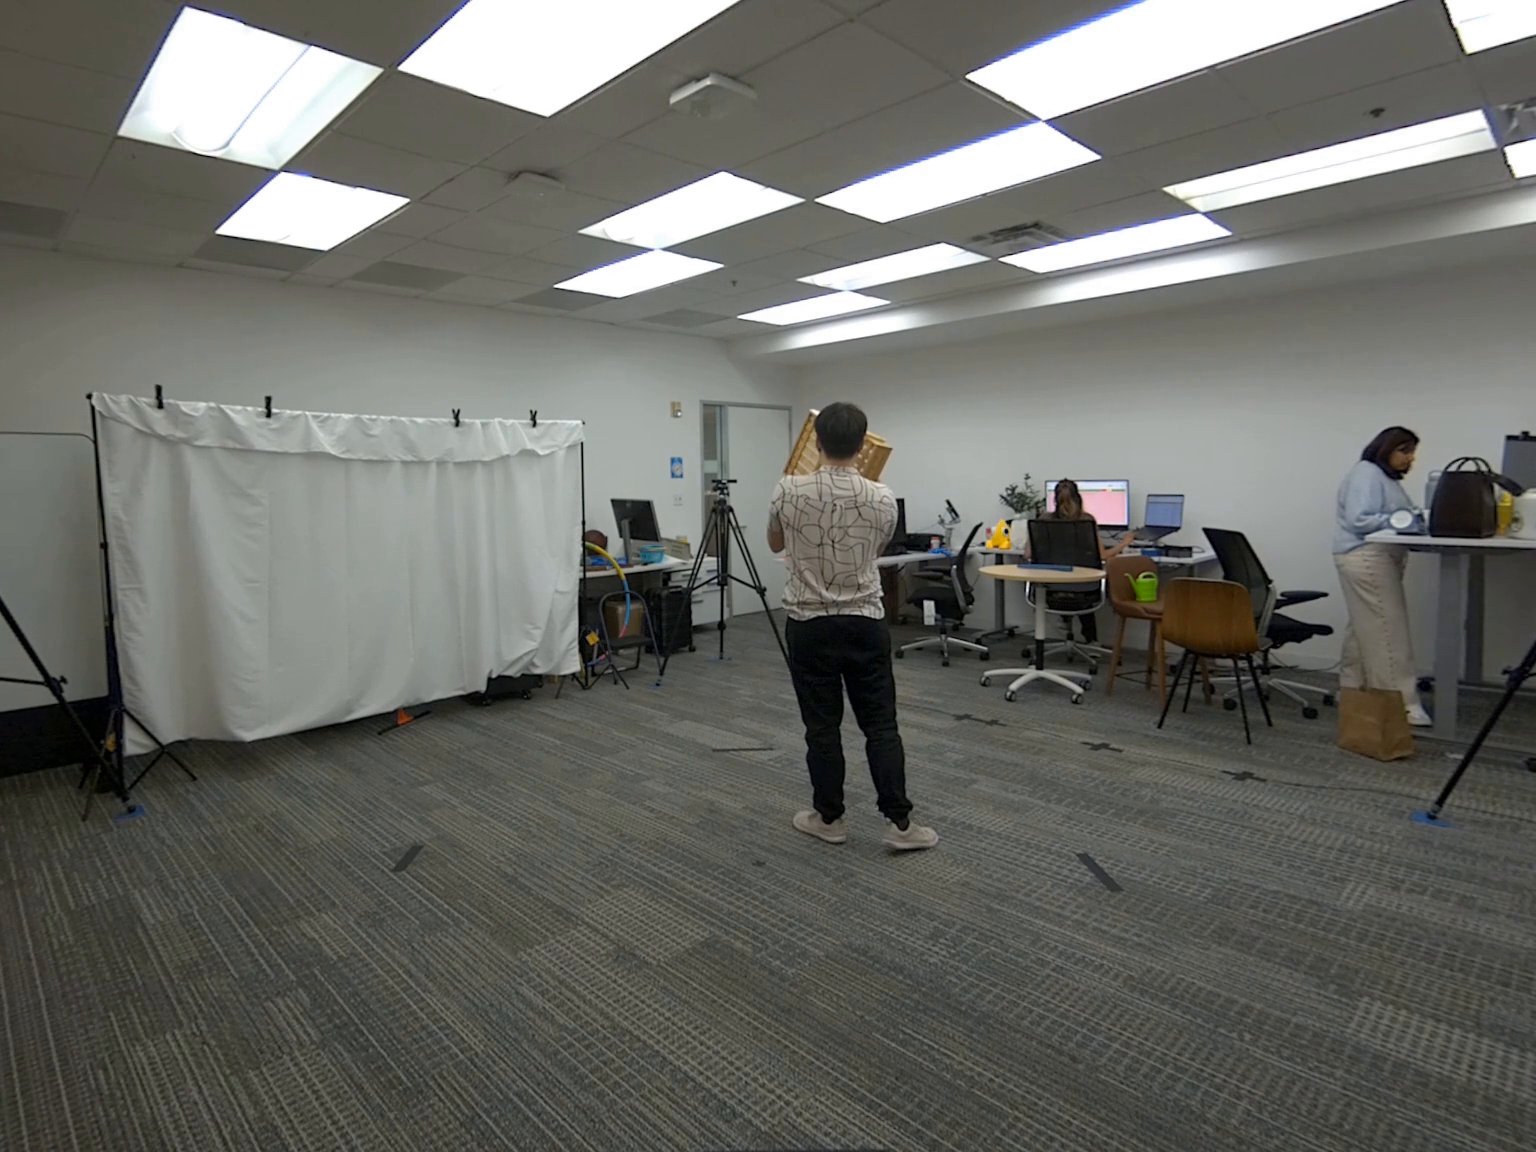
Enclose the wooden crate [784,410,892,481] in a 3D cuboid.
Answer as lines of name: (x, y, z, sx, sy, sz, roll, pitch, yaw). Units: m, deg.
wooden crate: (0.293, -0.491, 3.613, 0.265, 0.321, 0.314, 6, 29, -35)
